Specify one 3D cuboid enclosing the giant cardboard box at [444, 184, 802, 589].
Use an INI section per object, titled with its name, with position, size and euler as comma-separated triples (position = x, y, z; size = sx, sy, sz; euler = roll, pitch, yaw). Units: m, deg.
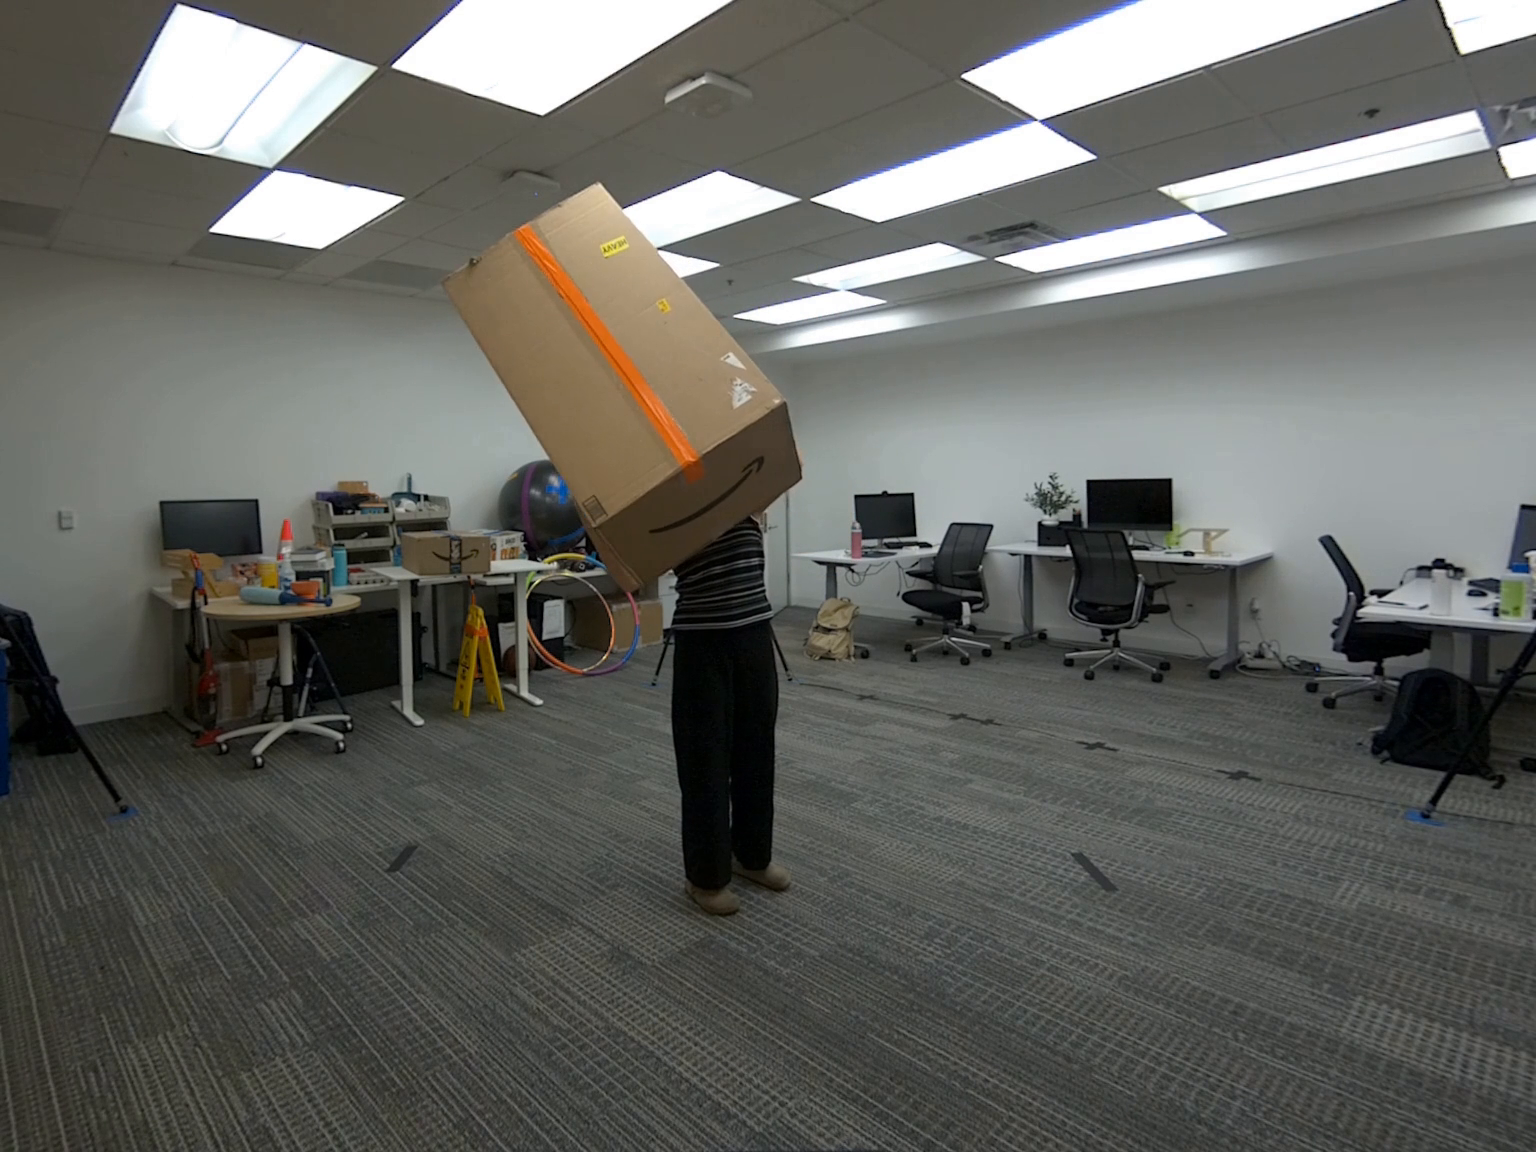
[giant cardboard box]
position = -0.424, -0.582, 2.529
size = 0.576, 1.058, 0.414
euler = -34, -25, -5
